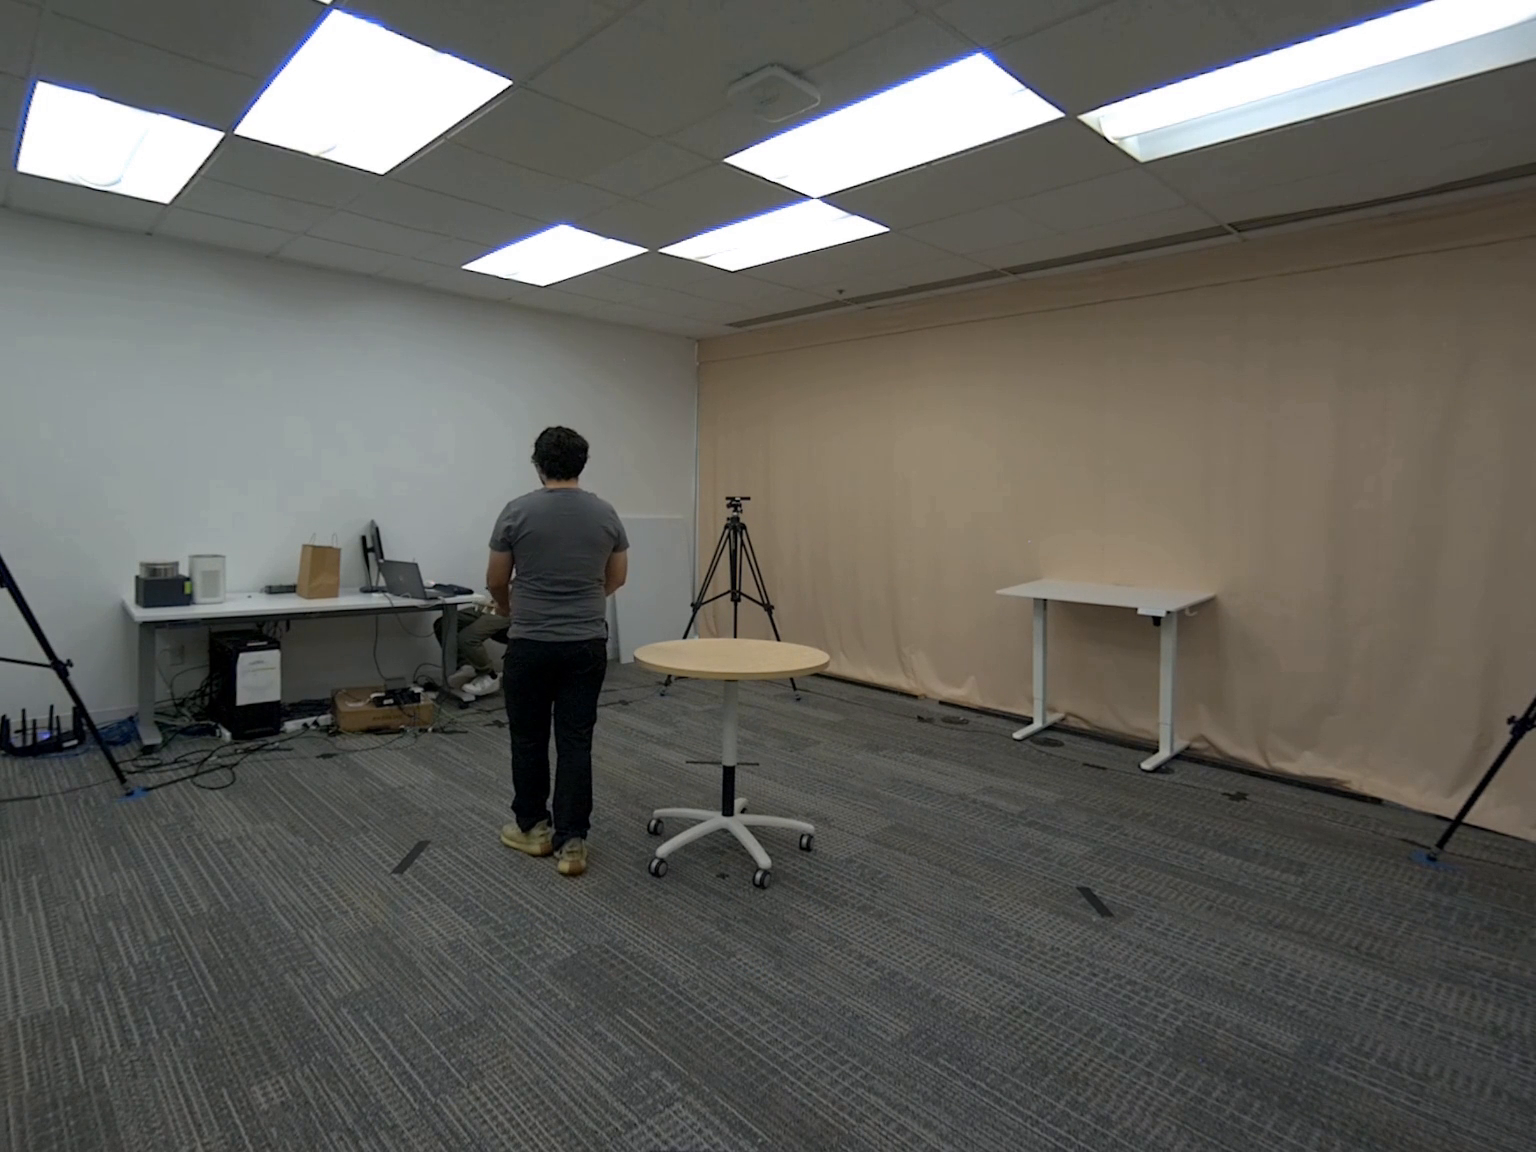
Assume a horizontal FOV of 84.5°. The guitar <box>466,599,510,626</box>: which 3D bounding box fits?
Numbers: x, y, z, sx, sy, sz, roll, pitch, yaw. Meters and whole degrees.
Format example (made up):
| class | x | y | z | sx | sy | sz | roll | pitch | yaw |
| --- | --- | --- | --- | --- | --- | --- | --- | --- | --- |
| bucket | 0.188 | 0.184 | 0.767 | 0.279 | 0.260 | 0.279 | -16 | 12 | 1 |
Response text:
| class | x | y | z | sx | sy | sz | roll | pitch | yaw |
| --- | --- | --- | --- | --- | --- | --- | --- | --- | --- |
| guitar | -0.981 | 0.177 | 3.529 | 0.504 | 0.071 | 0.189 | 7 | -9 | 13 |
